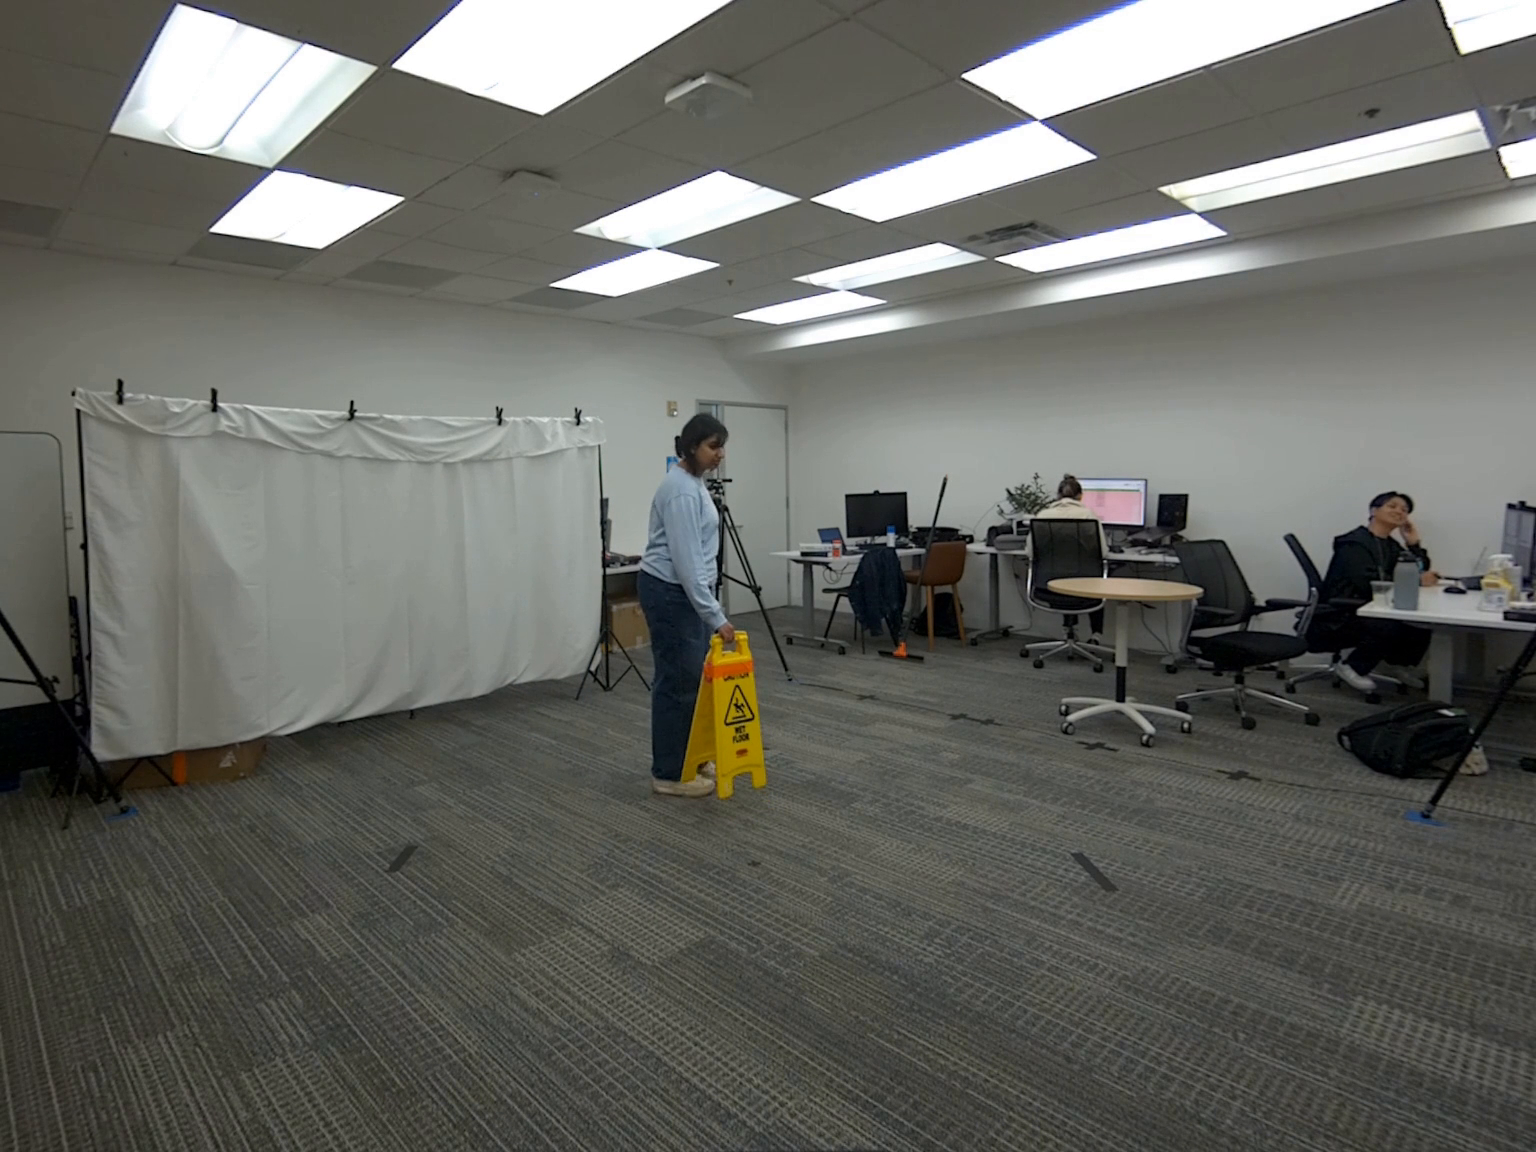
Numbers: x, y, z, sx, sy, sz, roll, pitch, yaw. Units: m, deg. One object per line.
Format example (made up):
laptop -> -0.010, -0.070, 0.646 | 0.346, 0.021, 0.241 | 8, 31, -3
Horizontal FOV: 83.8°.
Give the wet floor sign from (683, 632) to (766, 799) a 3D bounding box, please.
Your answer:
wet floor sign -> -0.180, 0.567, 3.645 | 0.299, 0.644, 0.274 | 6, 4, 45
